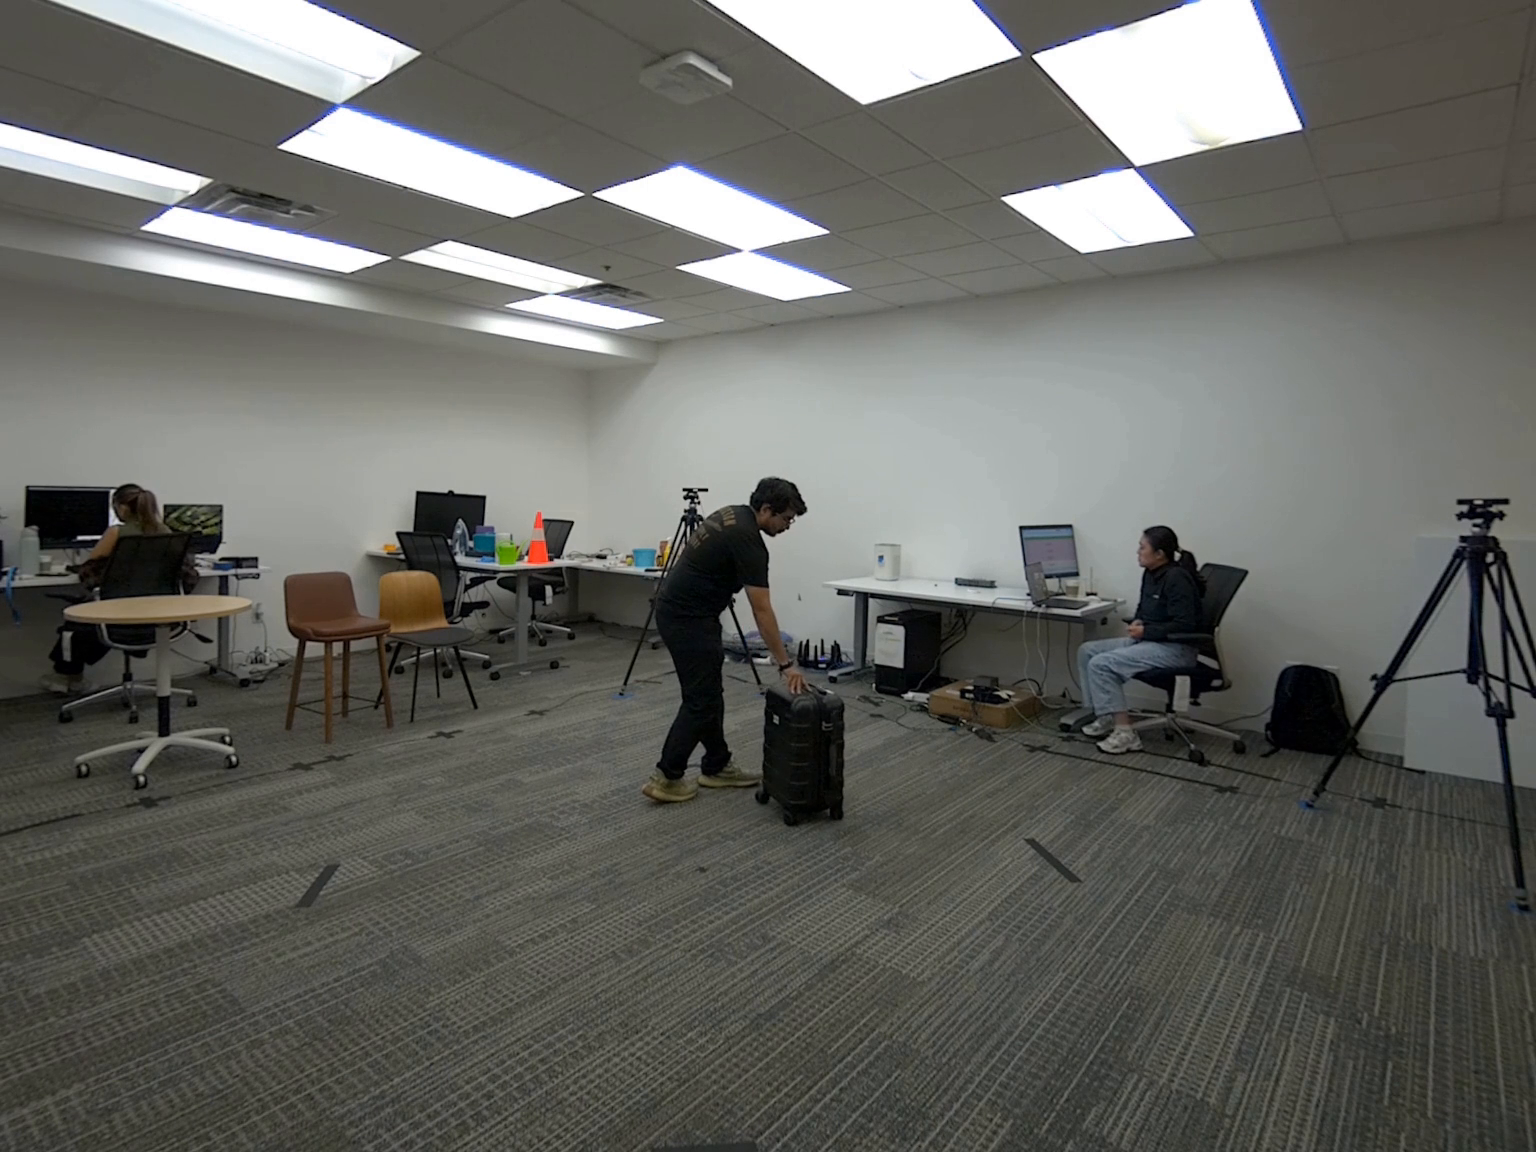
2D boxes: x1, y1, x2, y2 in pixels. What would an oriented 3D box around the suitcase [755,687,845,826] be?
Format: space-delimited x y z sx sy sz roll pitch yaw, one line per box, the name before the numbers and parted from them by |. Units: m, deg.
suitcase | 0.141 0.745 3.687 0.243 0.547 0.385 -1 4 -23
